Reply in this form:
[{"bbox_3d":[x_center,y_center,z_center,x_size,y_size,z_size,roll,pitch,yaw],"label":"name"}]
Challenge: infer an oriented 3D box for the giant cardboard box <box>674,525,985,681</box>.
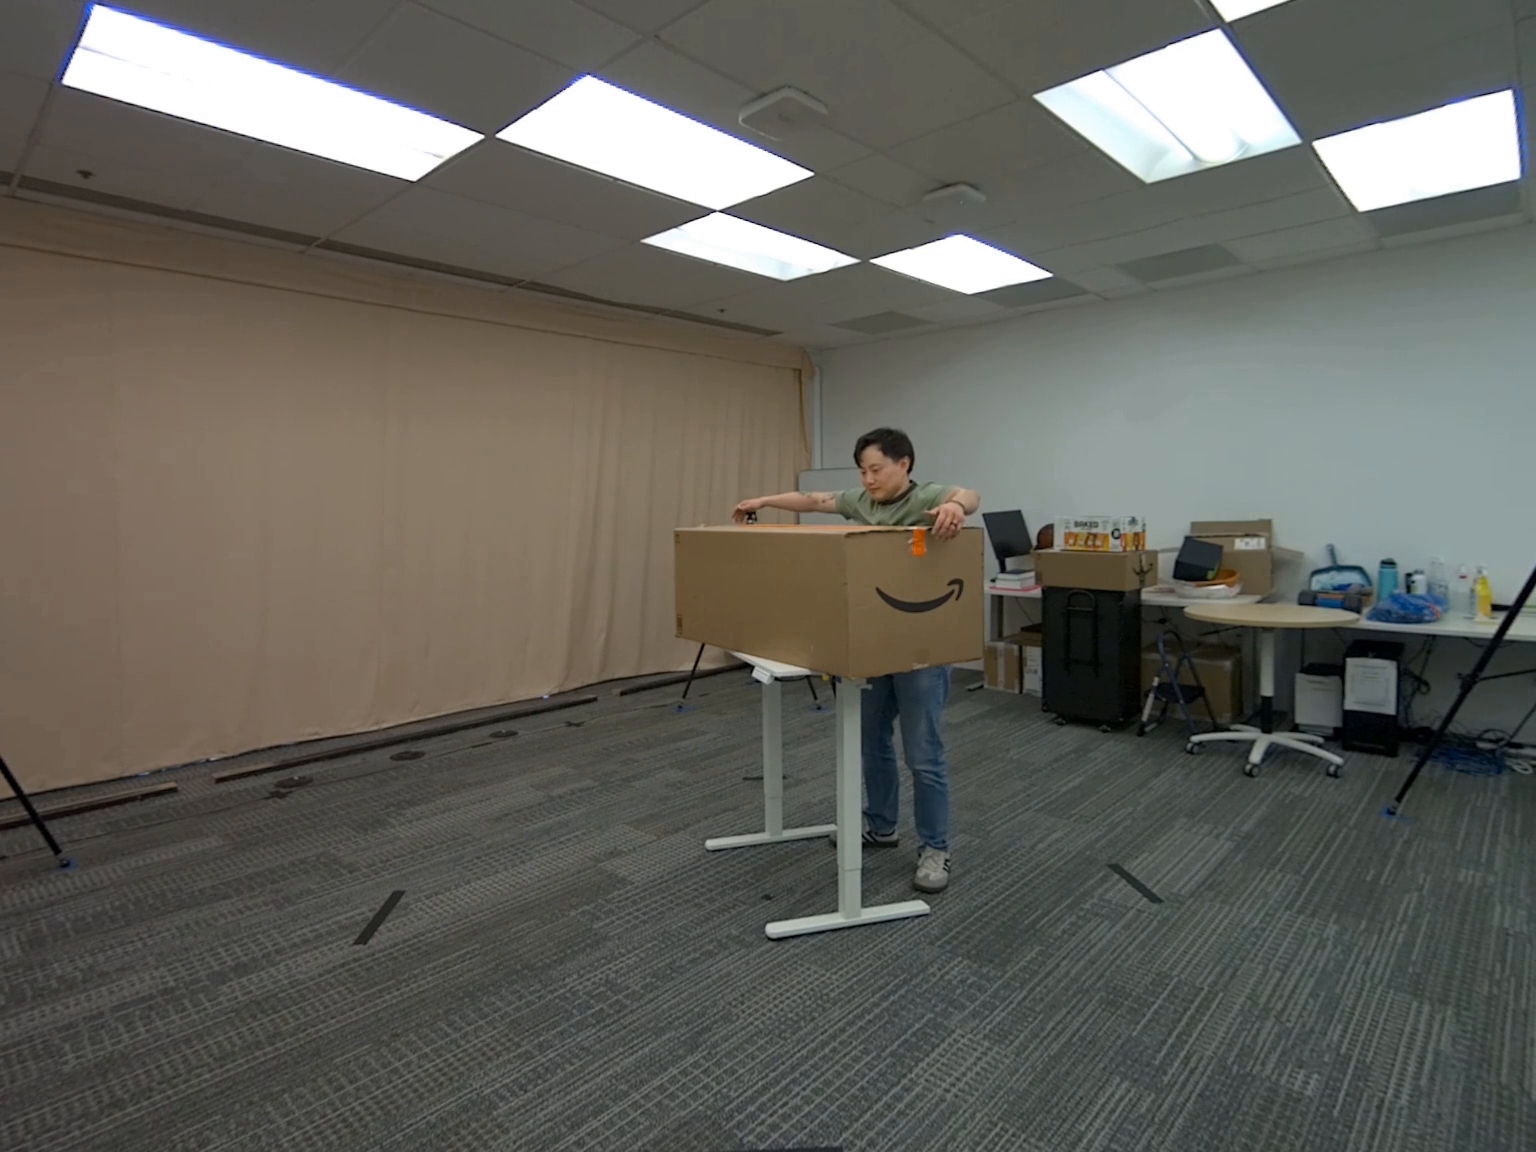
[{"bbox_3d":[0.164,0.040,2.974,0.561,0.425,1.057,-3,5,-34],"label":"giant cardboard box"}]
